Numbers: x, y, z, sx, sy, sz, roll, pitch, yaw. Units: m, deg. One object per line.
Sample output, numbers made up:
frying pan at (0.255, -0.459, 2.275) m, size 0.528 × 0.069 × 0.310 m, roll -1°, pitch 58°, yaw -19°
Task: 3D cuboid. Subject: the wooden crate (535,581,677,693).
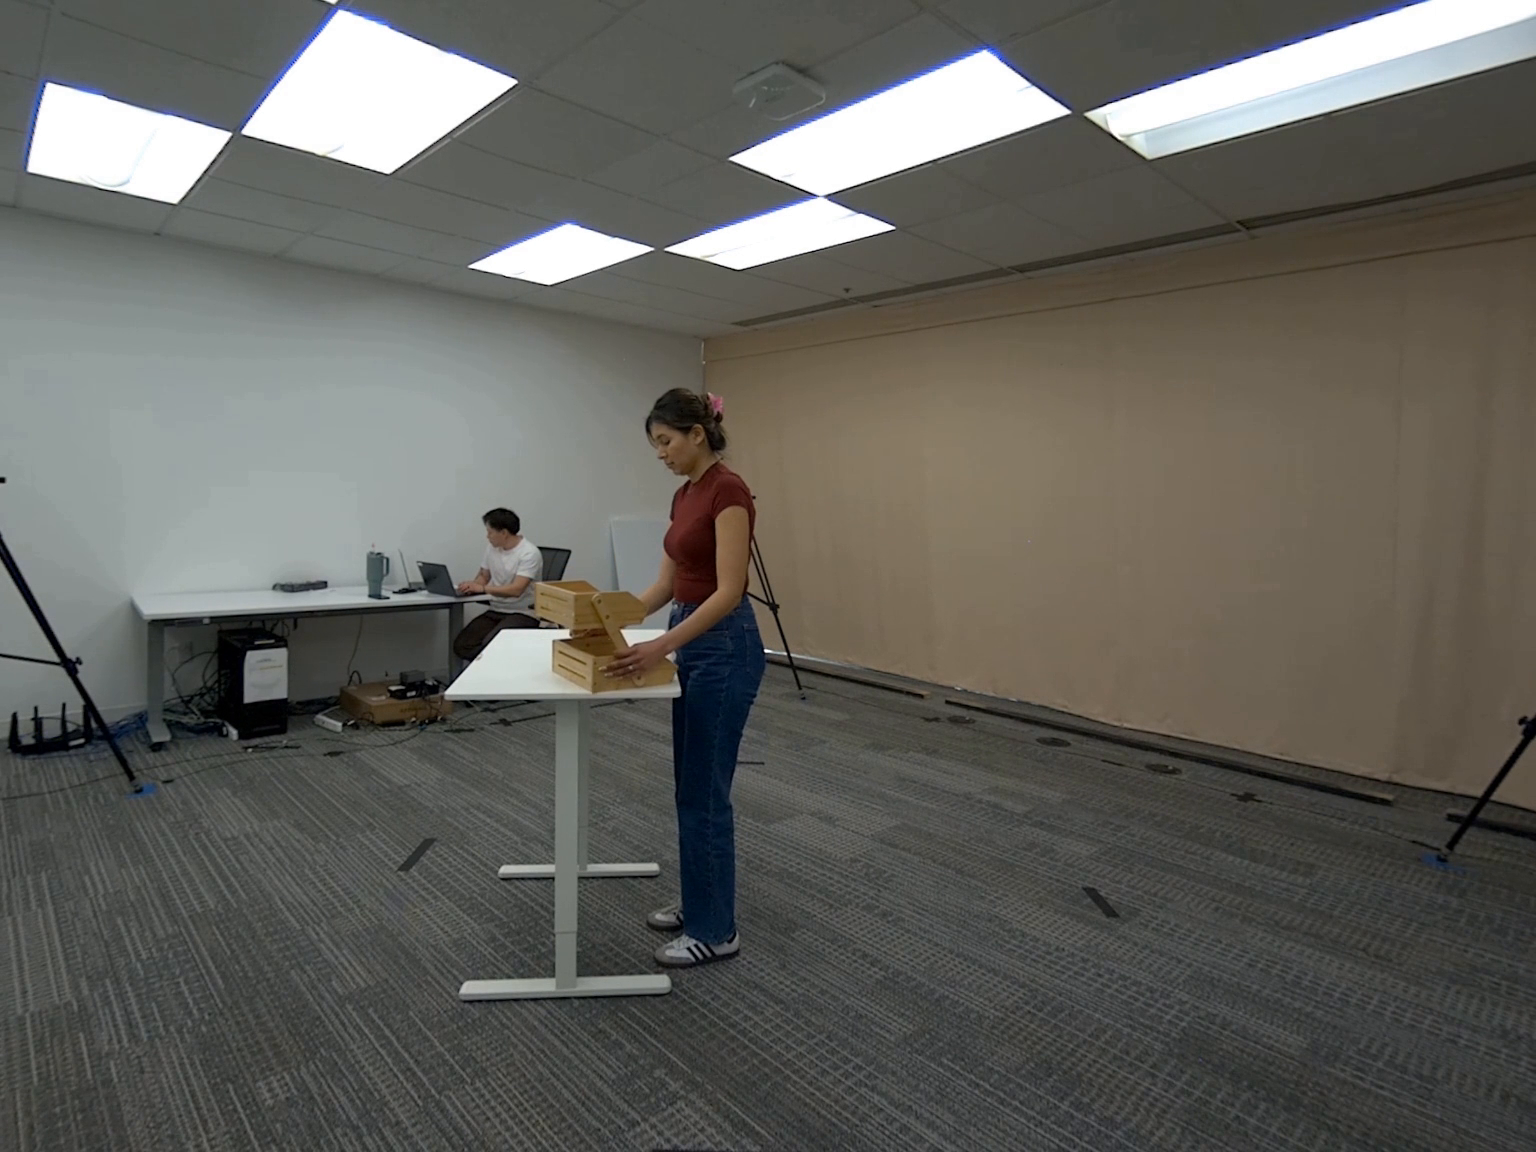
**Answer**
wooden crate at (-0.460, 0.156, 2.330) m, size 0.296 × 0.272 × 0.332 m, roll -4°, pitch 6°, yaw -33°
